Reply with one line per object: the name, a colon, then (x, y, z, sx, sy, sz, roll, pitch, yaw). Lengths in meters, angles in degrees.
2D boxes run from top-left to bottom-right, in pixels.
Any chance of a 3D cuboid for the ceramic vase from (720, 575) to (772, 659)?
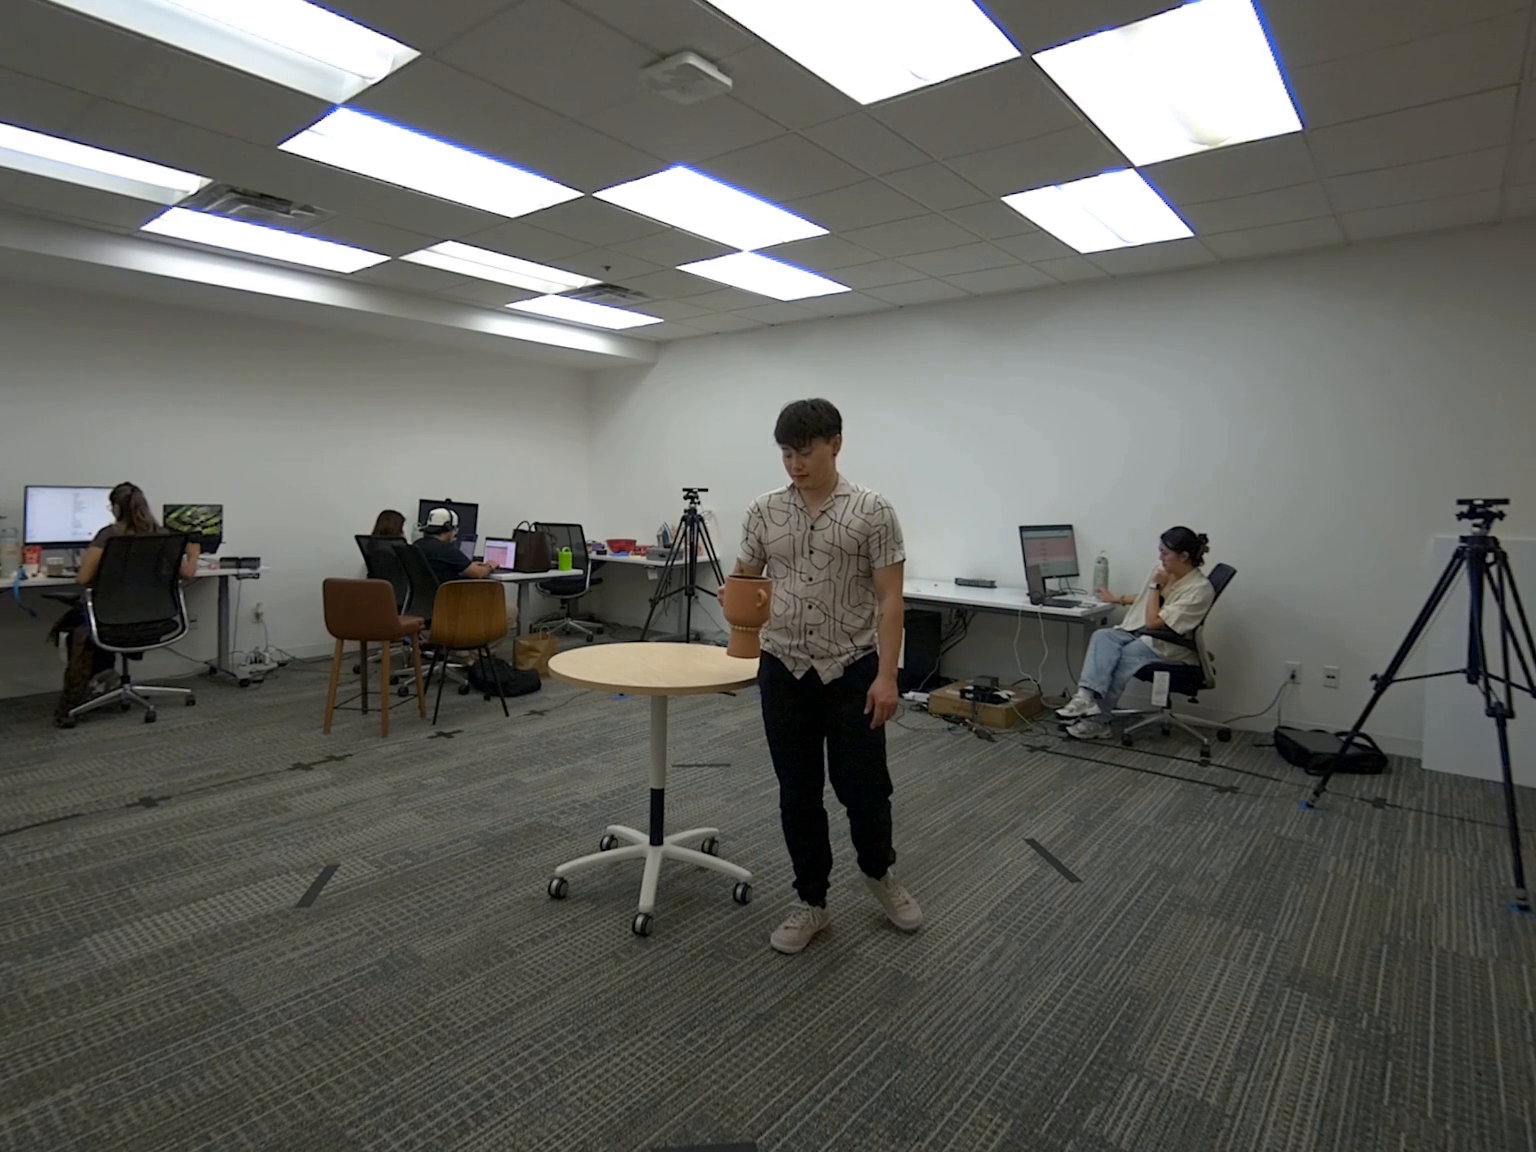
ceramic vase: (-0.059, 0.112, 2.388, 0.136, 0.219, 0.157, 6, 4, 11)
